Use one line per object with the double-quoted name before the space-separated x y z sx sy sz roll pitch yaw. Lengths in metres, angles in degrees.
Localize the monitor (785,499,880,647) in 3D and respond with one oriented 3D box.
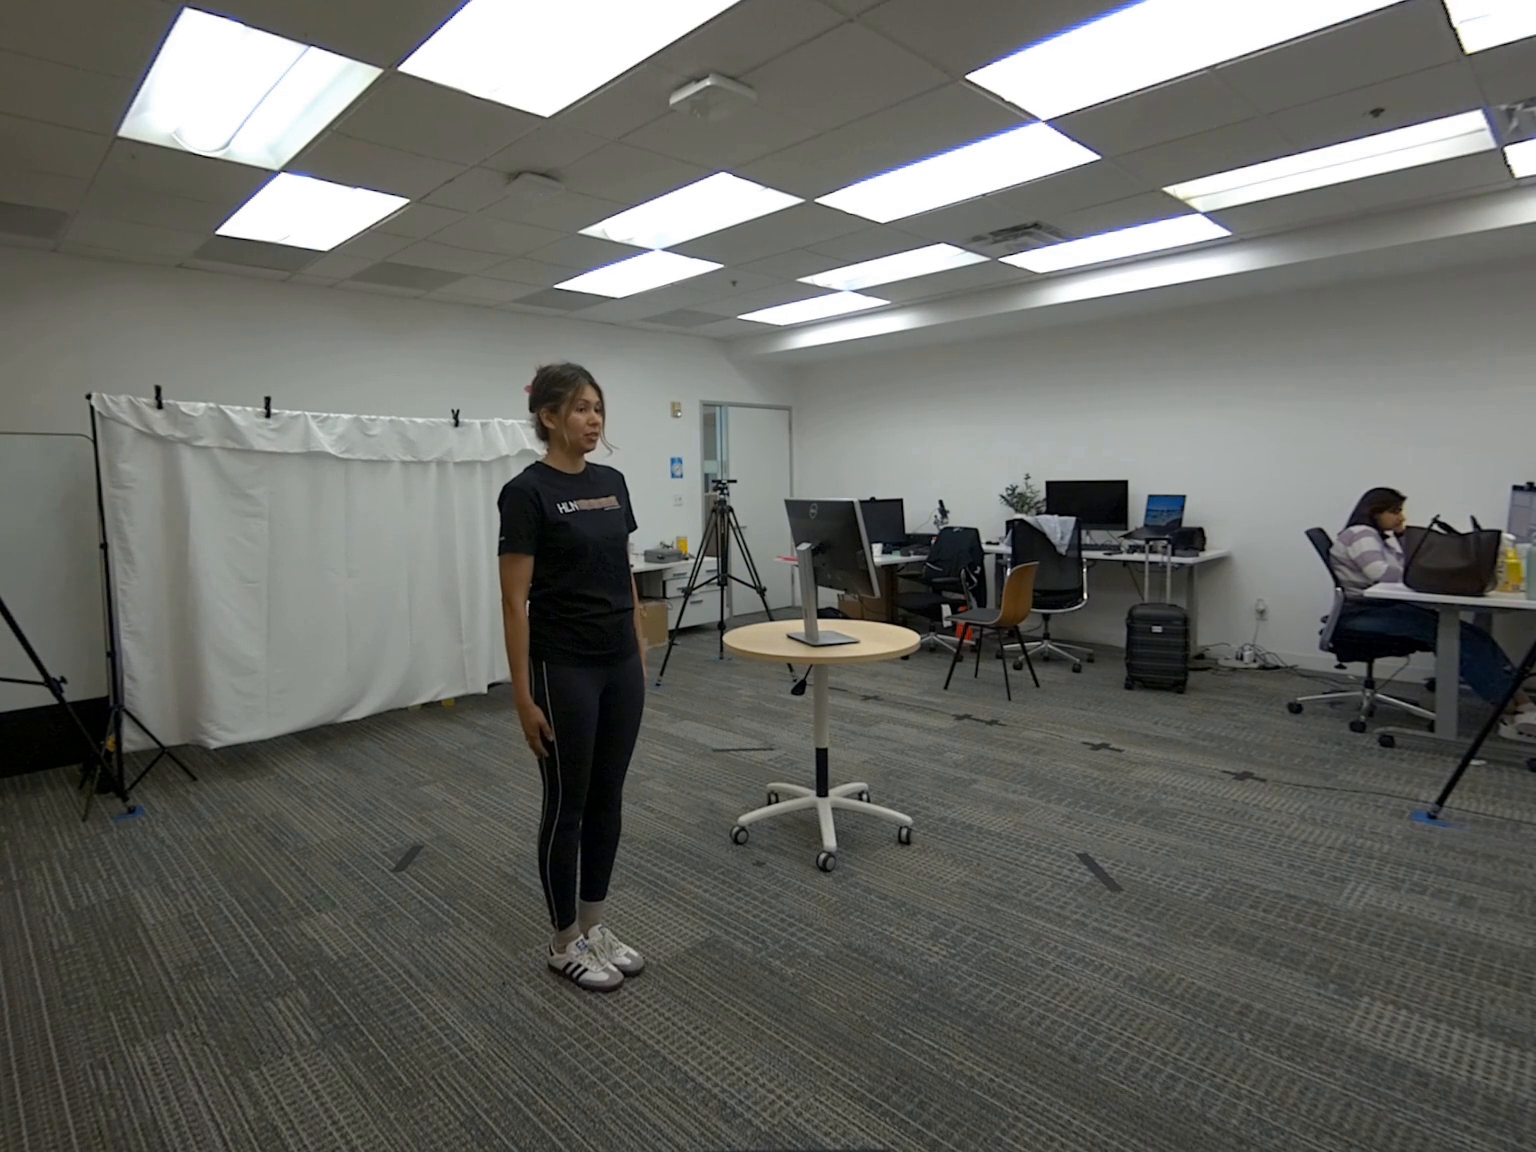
"monitor" 0.204 -0.018 3.251 0.183 0.520 0.553 -3 5 -26
